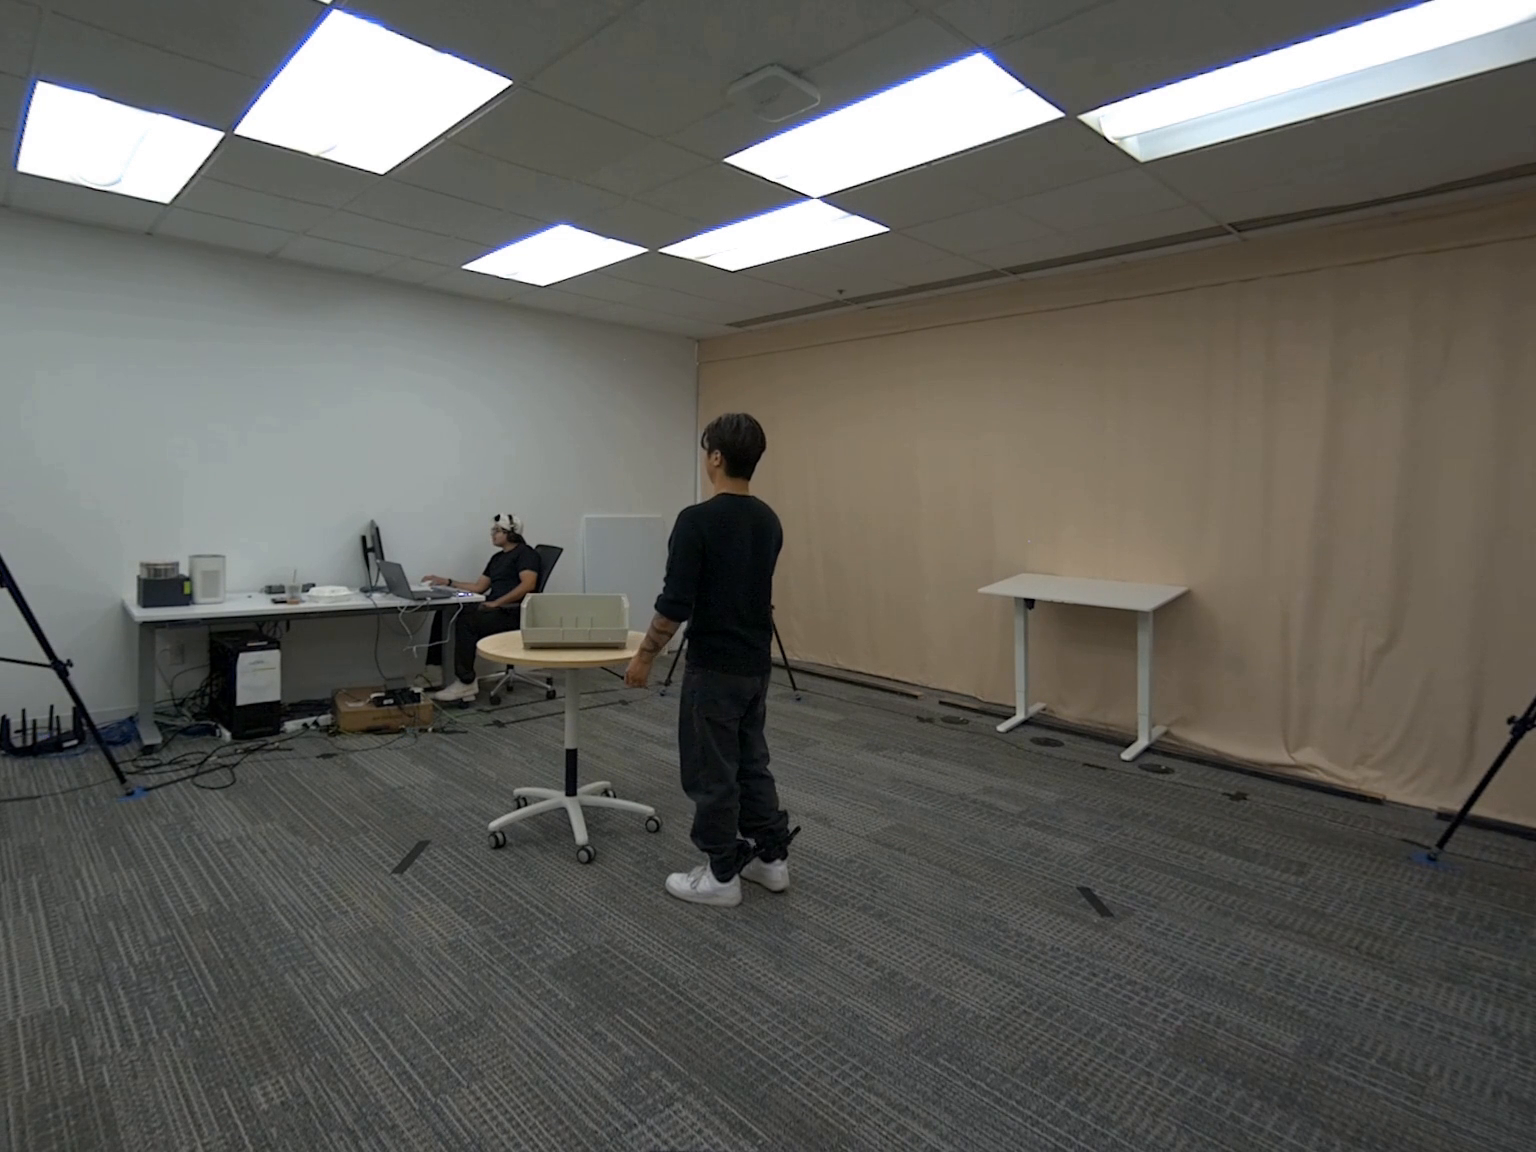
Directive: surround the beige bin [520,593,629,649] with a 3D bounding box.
[{"bbox_3d":[-0.798,0.188,3.468,0.419,0.188,0.381,0,5,-11],"label":"beige bin"}]
